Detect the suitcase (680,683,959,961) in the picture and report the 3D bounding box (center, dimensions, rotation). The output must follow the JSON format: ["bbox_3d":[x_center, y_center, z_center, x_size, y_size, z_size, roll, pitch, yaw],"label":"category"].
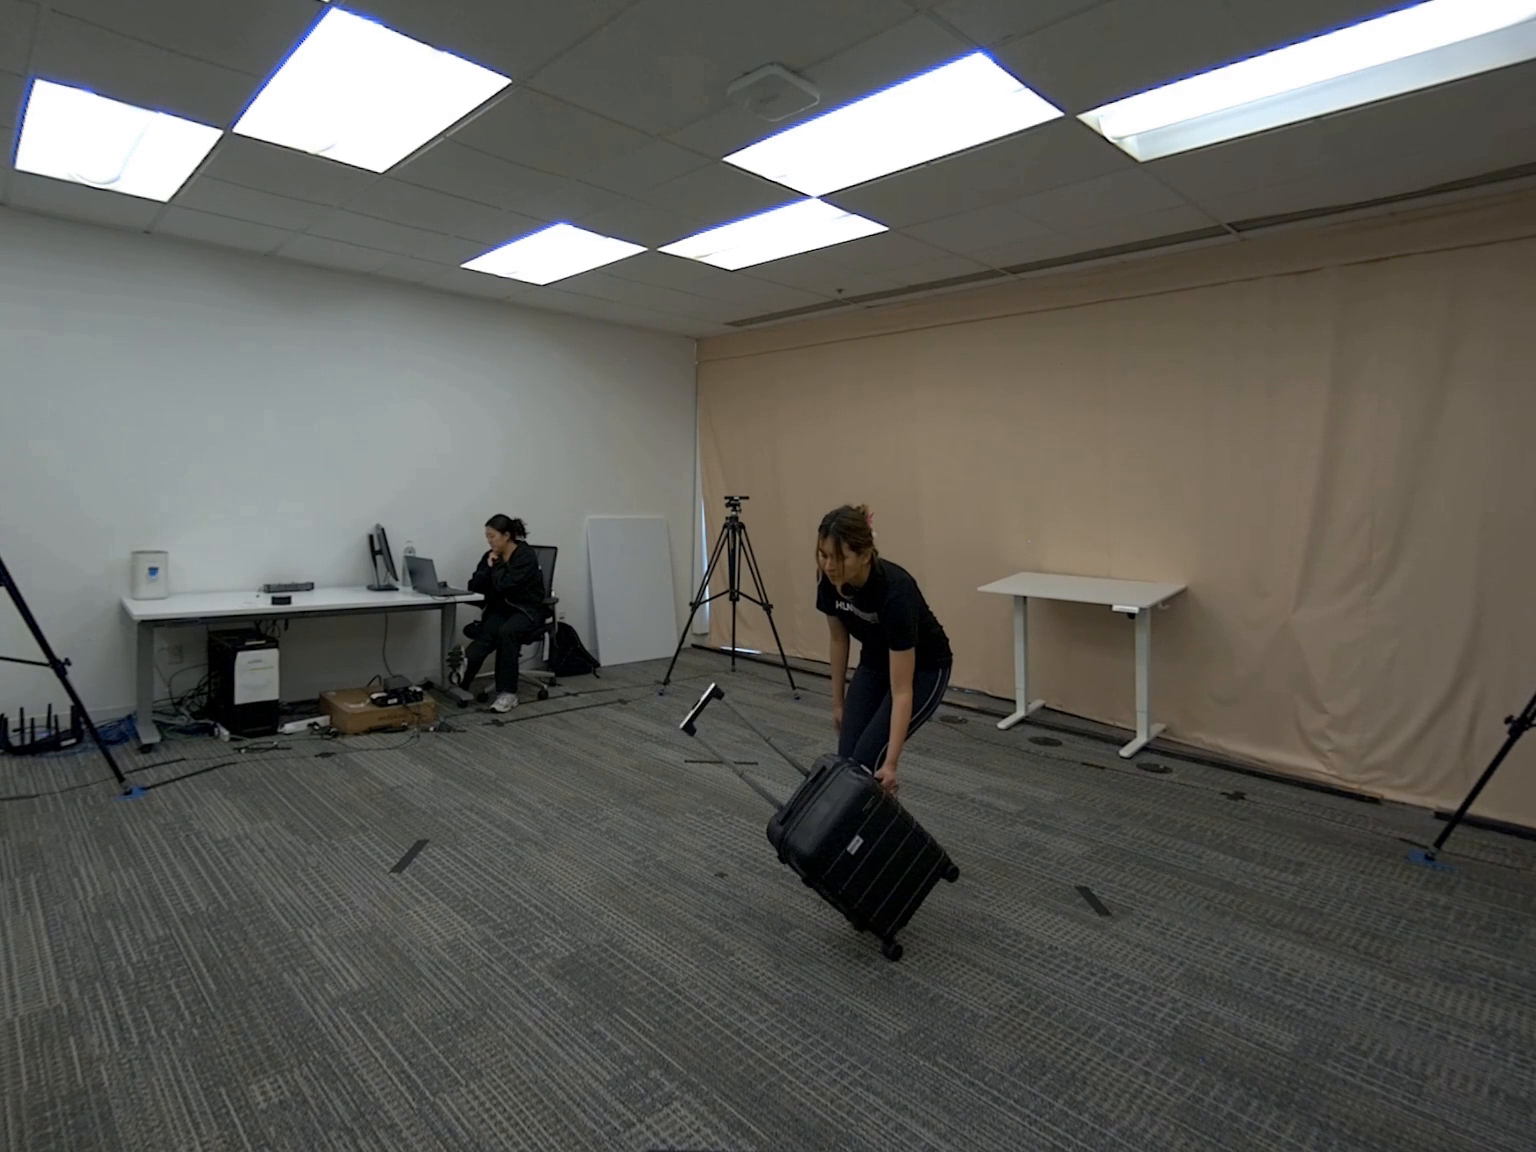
[{"bbox_3d":[0.163,0.709,2.509,0.955,0.384,0.263,48,-13,-25],"label":"suitcase"}]
